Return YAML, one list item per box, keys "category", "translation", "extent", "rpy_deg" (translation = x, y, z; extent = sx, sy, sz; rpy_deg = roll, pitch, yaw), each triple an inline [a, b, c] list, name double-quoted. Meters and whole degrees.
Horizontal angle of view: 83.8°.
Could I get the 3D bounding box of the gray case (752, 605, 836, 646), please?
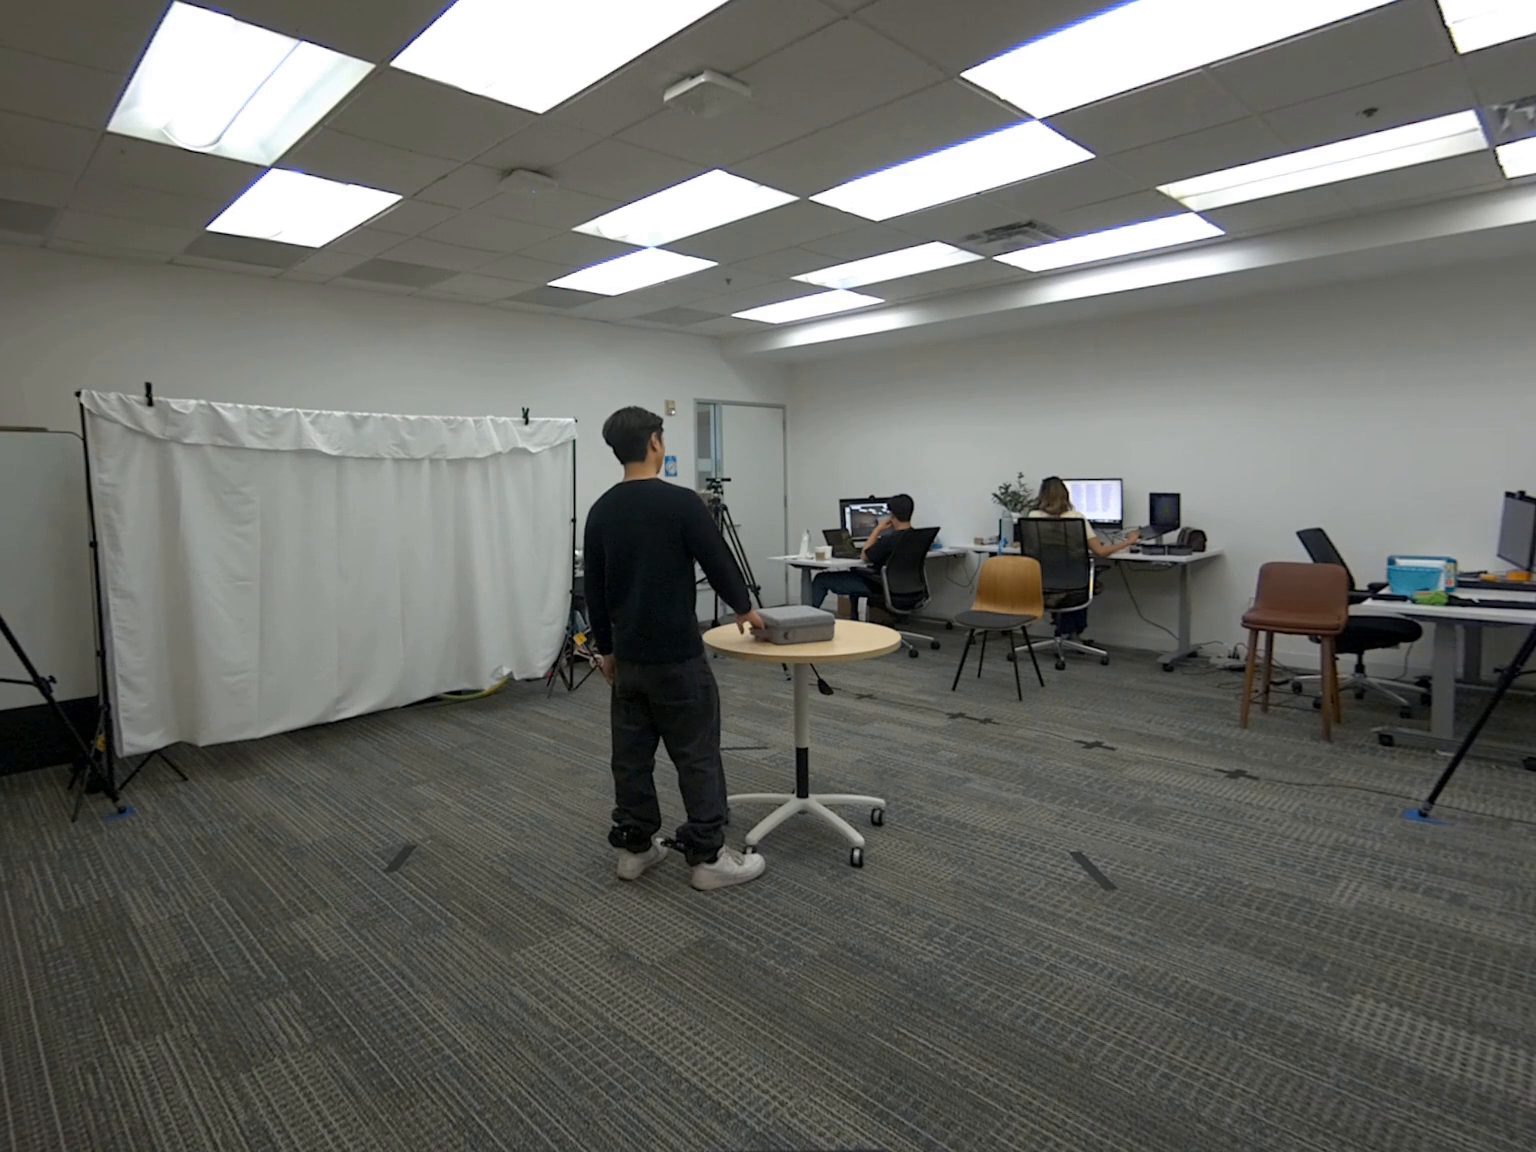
- category: "gray case"
  translation: [0.095, 0.184, 3.269]
  extent: [0.256, 0.104, 0.263]
  rpy_deg: [-4, 8, -21]
